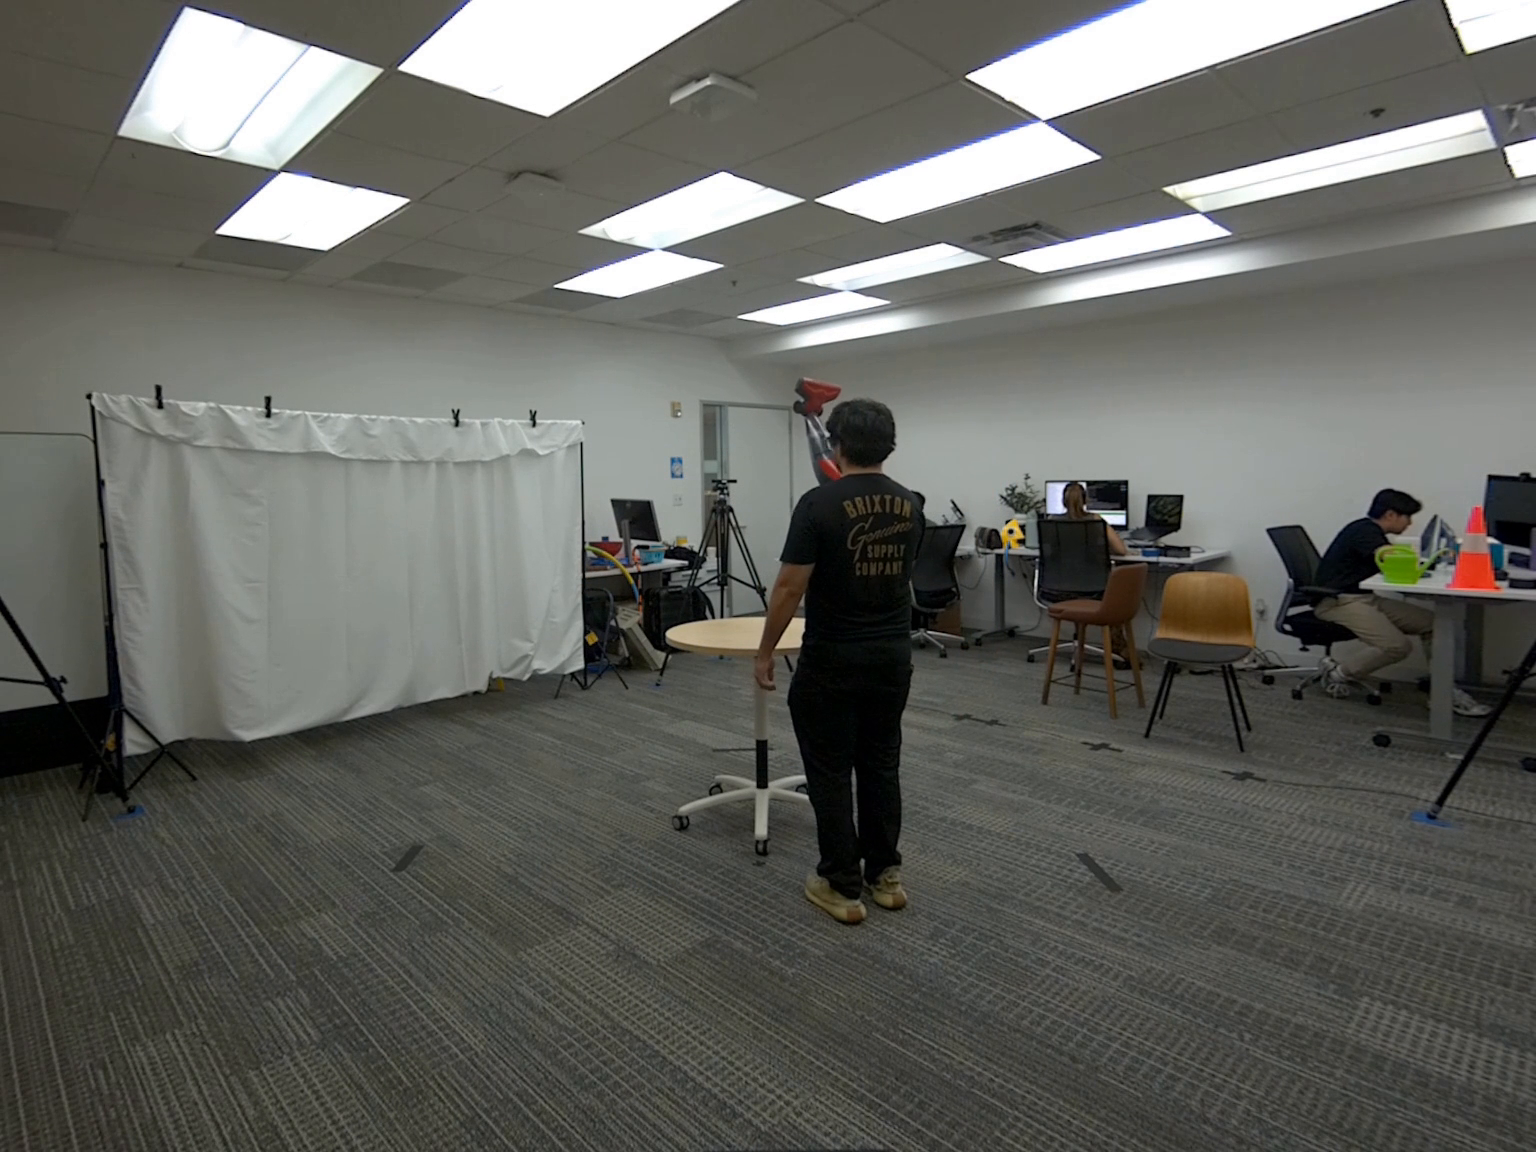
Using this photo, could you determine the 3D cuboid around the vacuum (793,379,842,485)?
[{"bbox_3d":[0.290,-0.225,3.310,0.245,1.064,0.146,1,-17,-43],"label":"vacuum"}]
